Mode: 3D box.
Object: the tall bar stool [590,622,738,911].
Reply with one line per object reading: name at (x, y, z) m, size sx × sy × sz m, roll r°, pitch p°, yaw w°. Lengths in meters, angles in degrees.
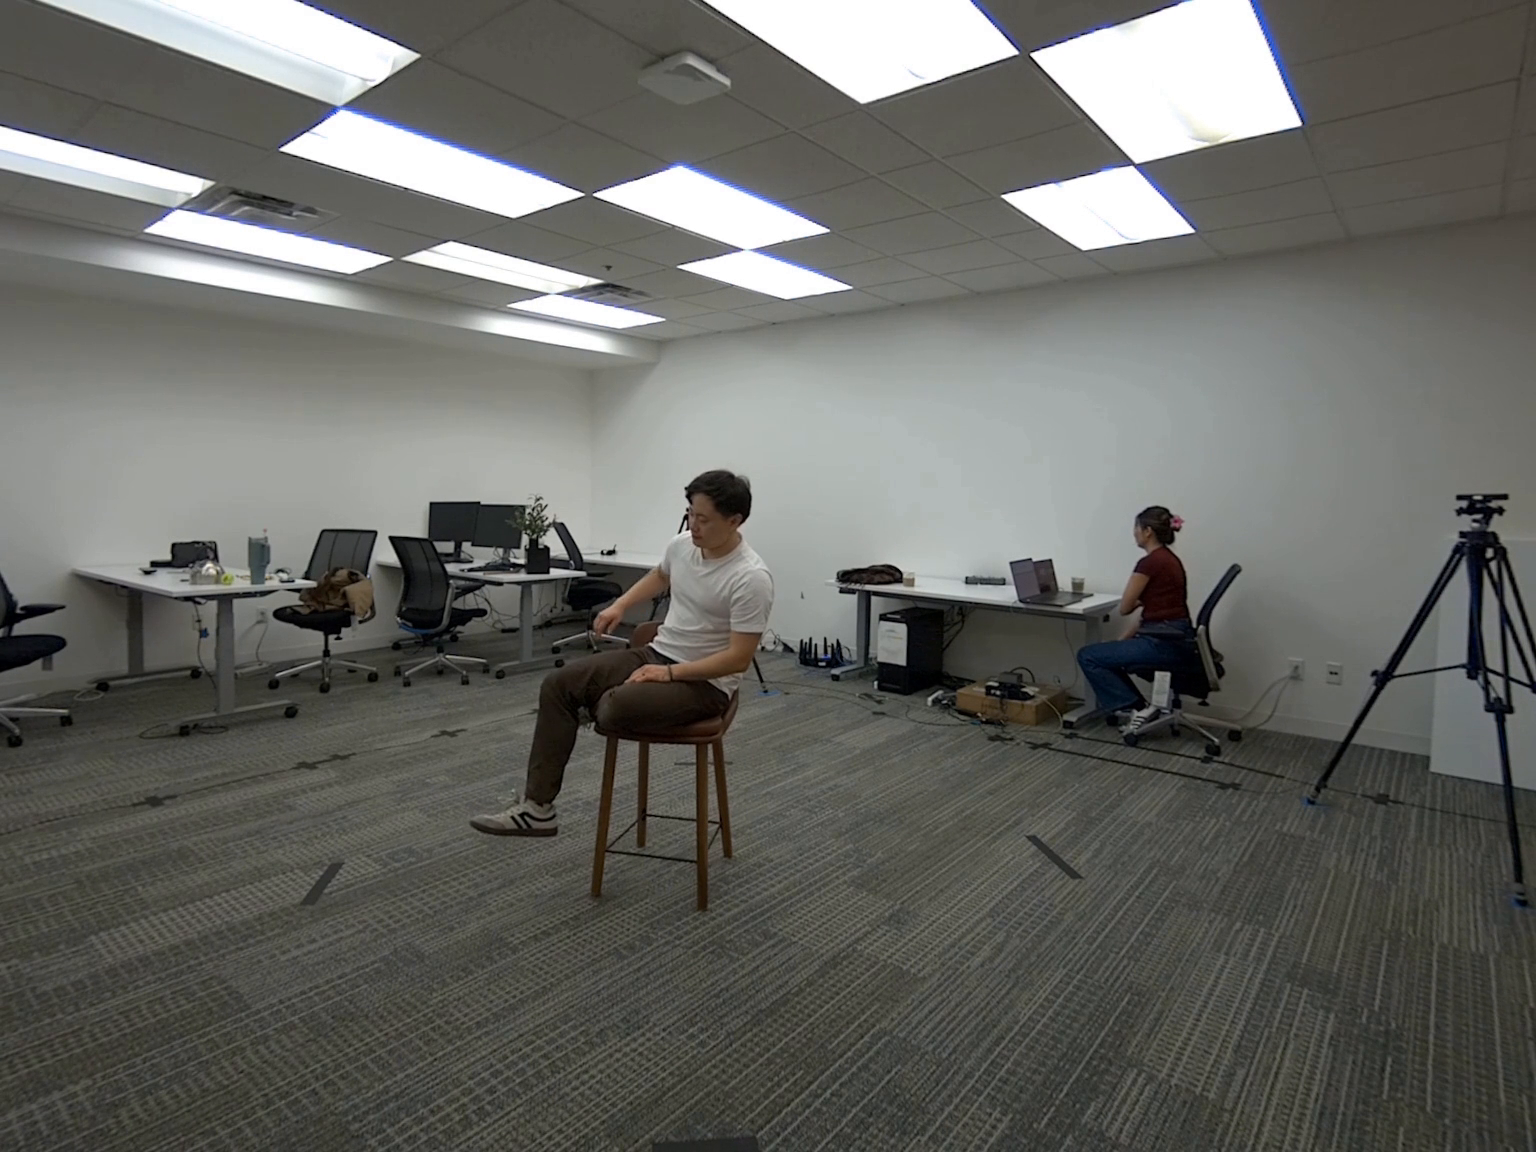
tall bar stool at (-0.362, 0.643, 3.041) m, size 0.464 × 0.889 × 0.460 m, roll 2°, pitch 1°, yaw 14°
